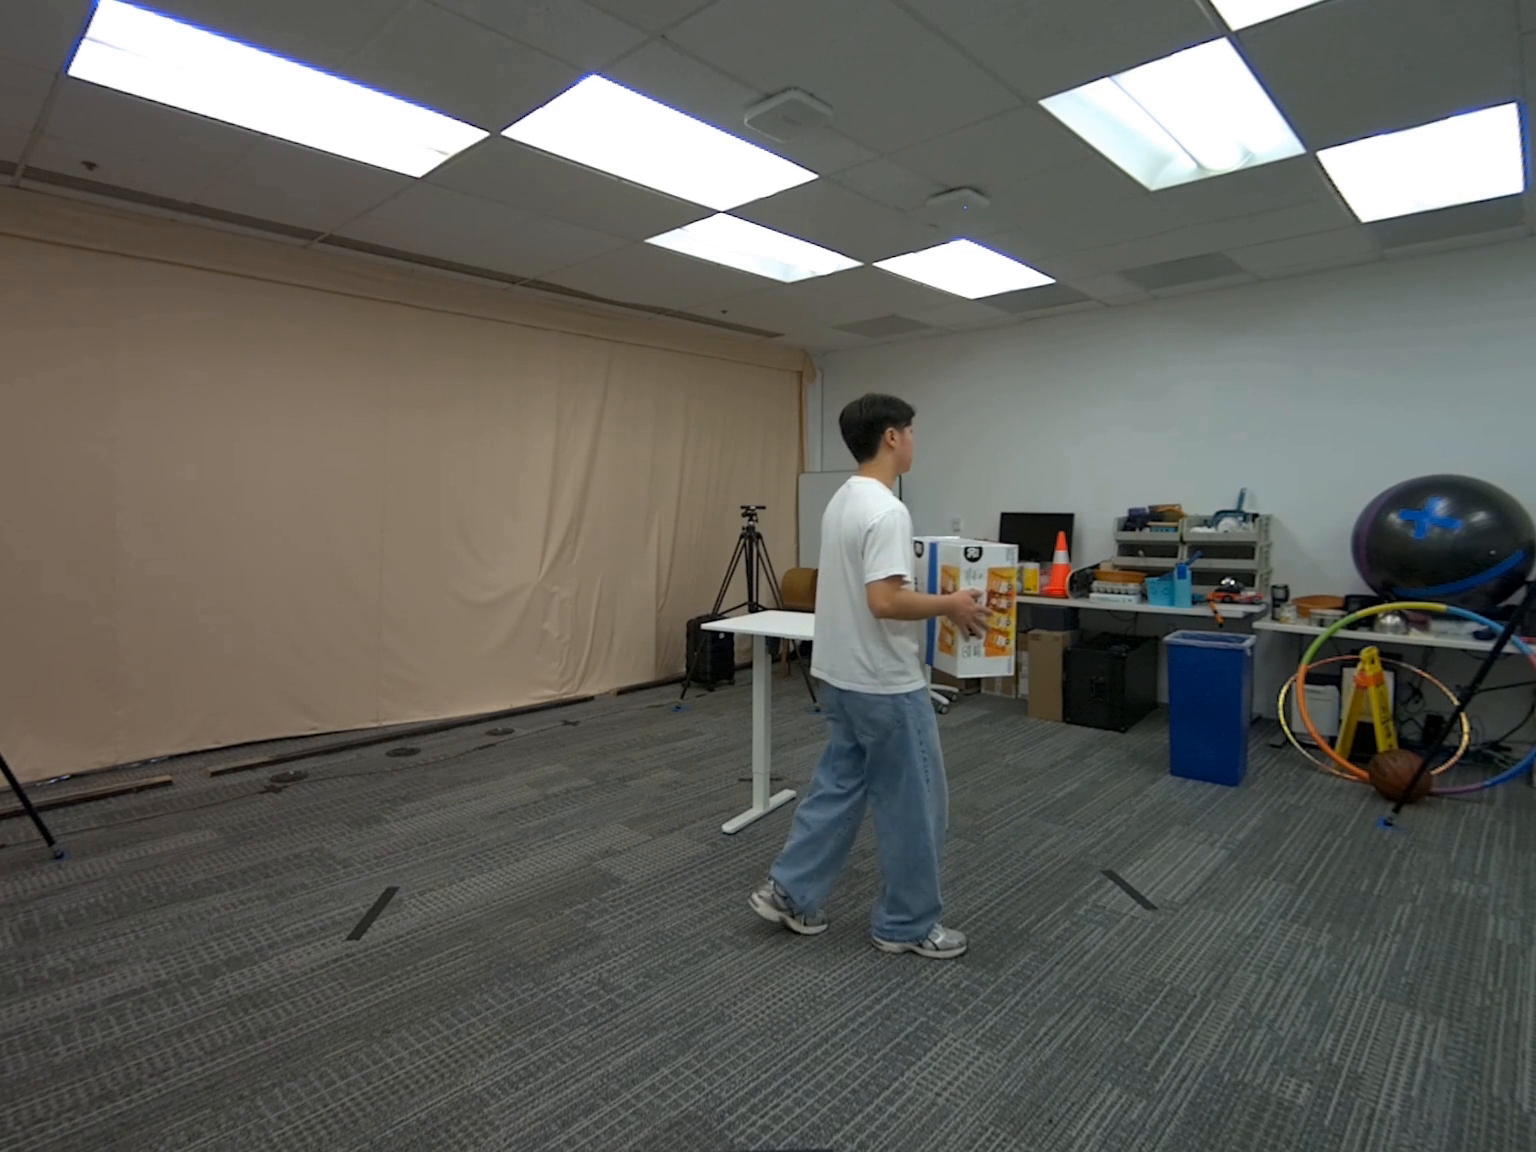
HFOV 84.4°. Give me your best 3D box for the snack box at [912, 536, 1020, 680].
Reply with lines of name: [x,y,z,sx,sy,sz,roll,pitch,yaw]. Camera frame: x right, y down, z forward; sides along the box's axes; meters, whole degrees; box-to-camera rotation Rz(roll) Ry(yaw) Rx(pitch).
snack box: [0.627,0.087,2.727,0.202,0.404,0.347,-1,6,-17]
